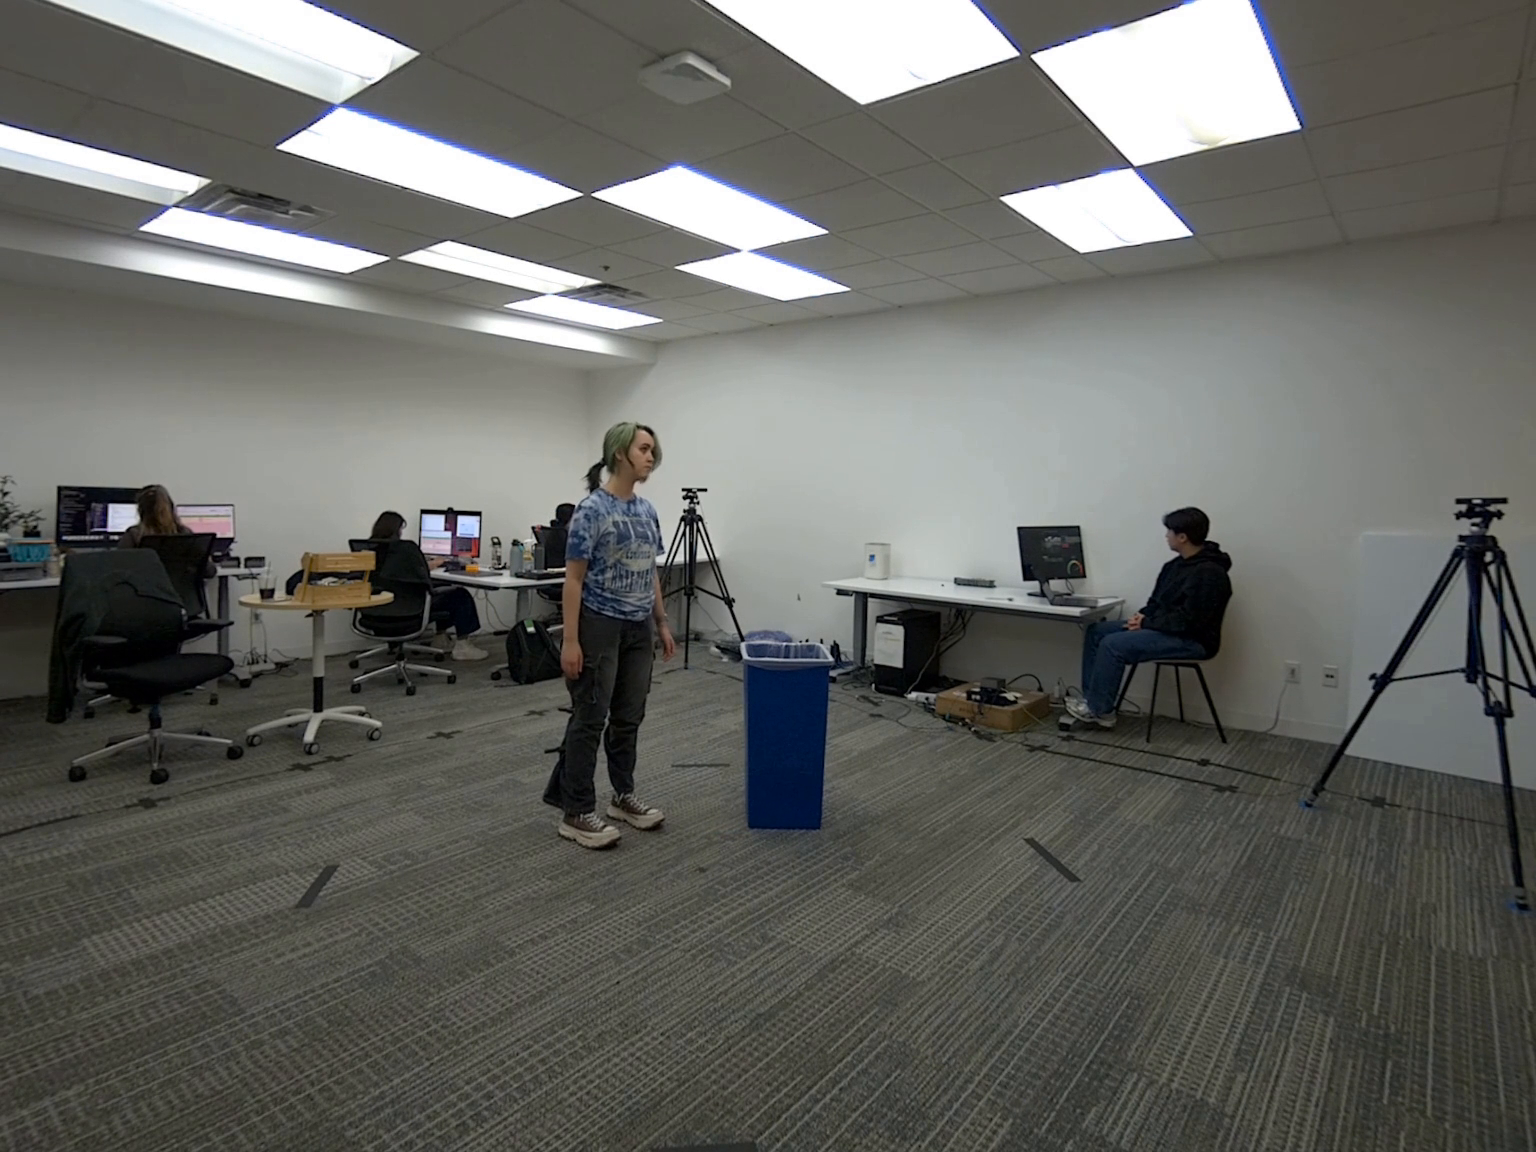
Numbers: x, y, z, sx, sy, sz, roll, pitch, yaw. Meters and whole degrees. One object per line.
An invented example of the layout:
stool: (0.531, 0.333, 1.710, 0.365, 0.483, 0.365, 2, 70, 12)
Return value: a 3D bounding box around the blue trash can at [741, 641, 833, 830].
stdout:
blue trash can: (0.059, 0.673, 3.622, 0.378, 0.711, 0.376, 1, 4, -2)
